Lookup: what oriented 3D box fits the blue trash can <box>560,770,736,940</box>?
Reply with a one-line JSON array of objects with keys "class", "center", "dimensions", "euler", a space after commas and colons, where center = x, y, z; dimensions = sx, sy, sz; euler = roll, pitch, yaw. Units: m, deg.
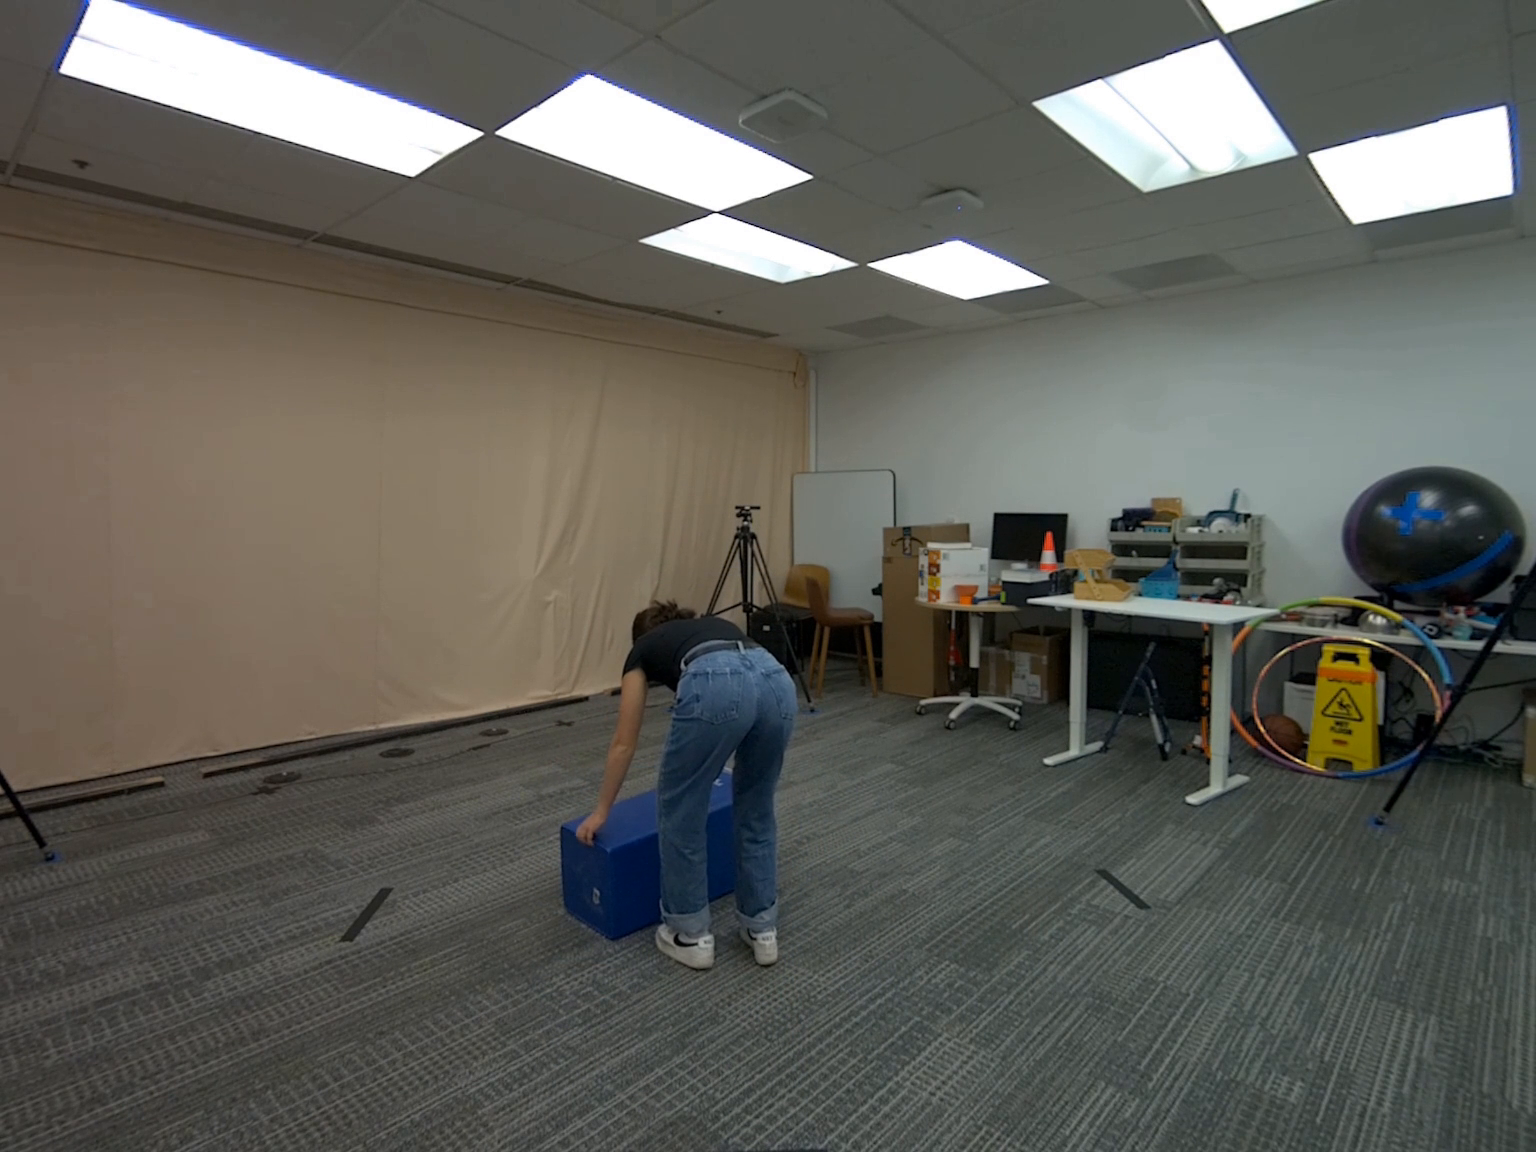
[{"class": "blue trash can", "center": [-0.355, 0.980, 3.017], "dimensions": [0.693, 0.372, 0.391], "euler": [-9, 9, -41]}]
